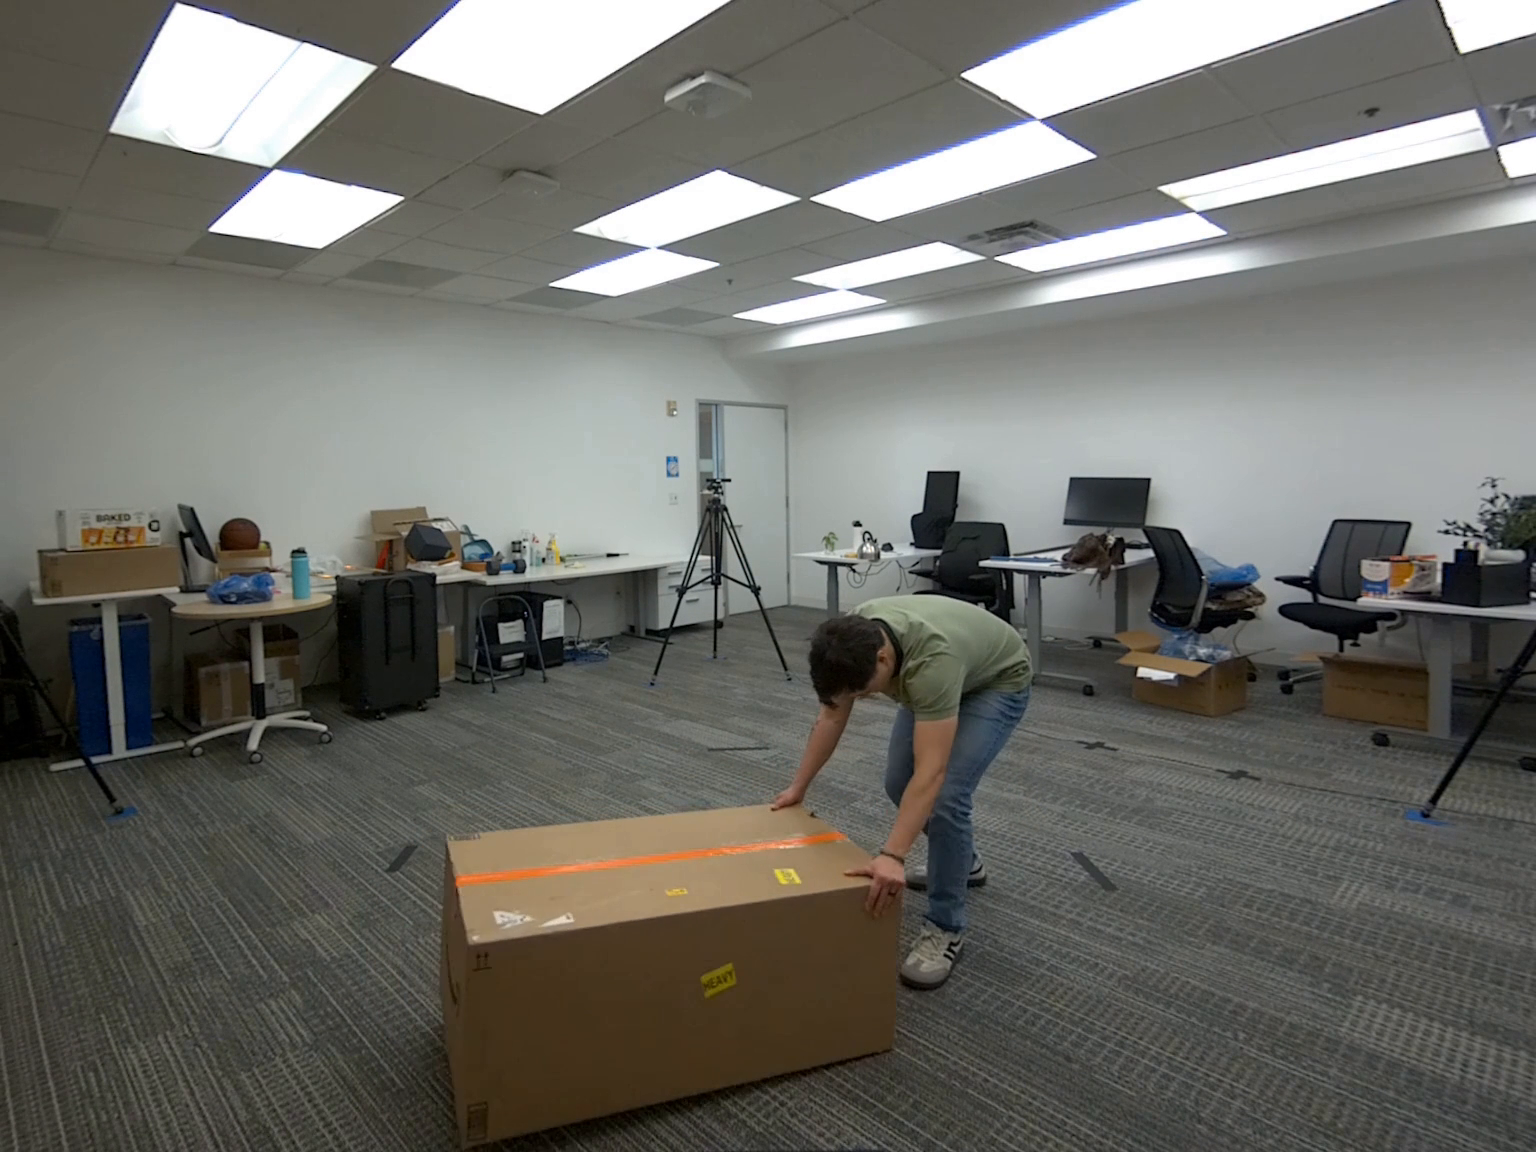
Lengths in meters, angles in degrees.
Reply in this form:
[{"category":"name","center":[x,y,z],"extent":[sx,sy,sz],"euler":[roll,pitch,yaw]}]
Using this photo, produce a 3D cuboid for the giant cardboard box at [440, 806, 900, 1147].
[{"category":"giant cardboard box","center":[-0.261,0.910,2.161],"extent":[1.004,0.425,0.591],"euler":[1,4,-23]}]
